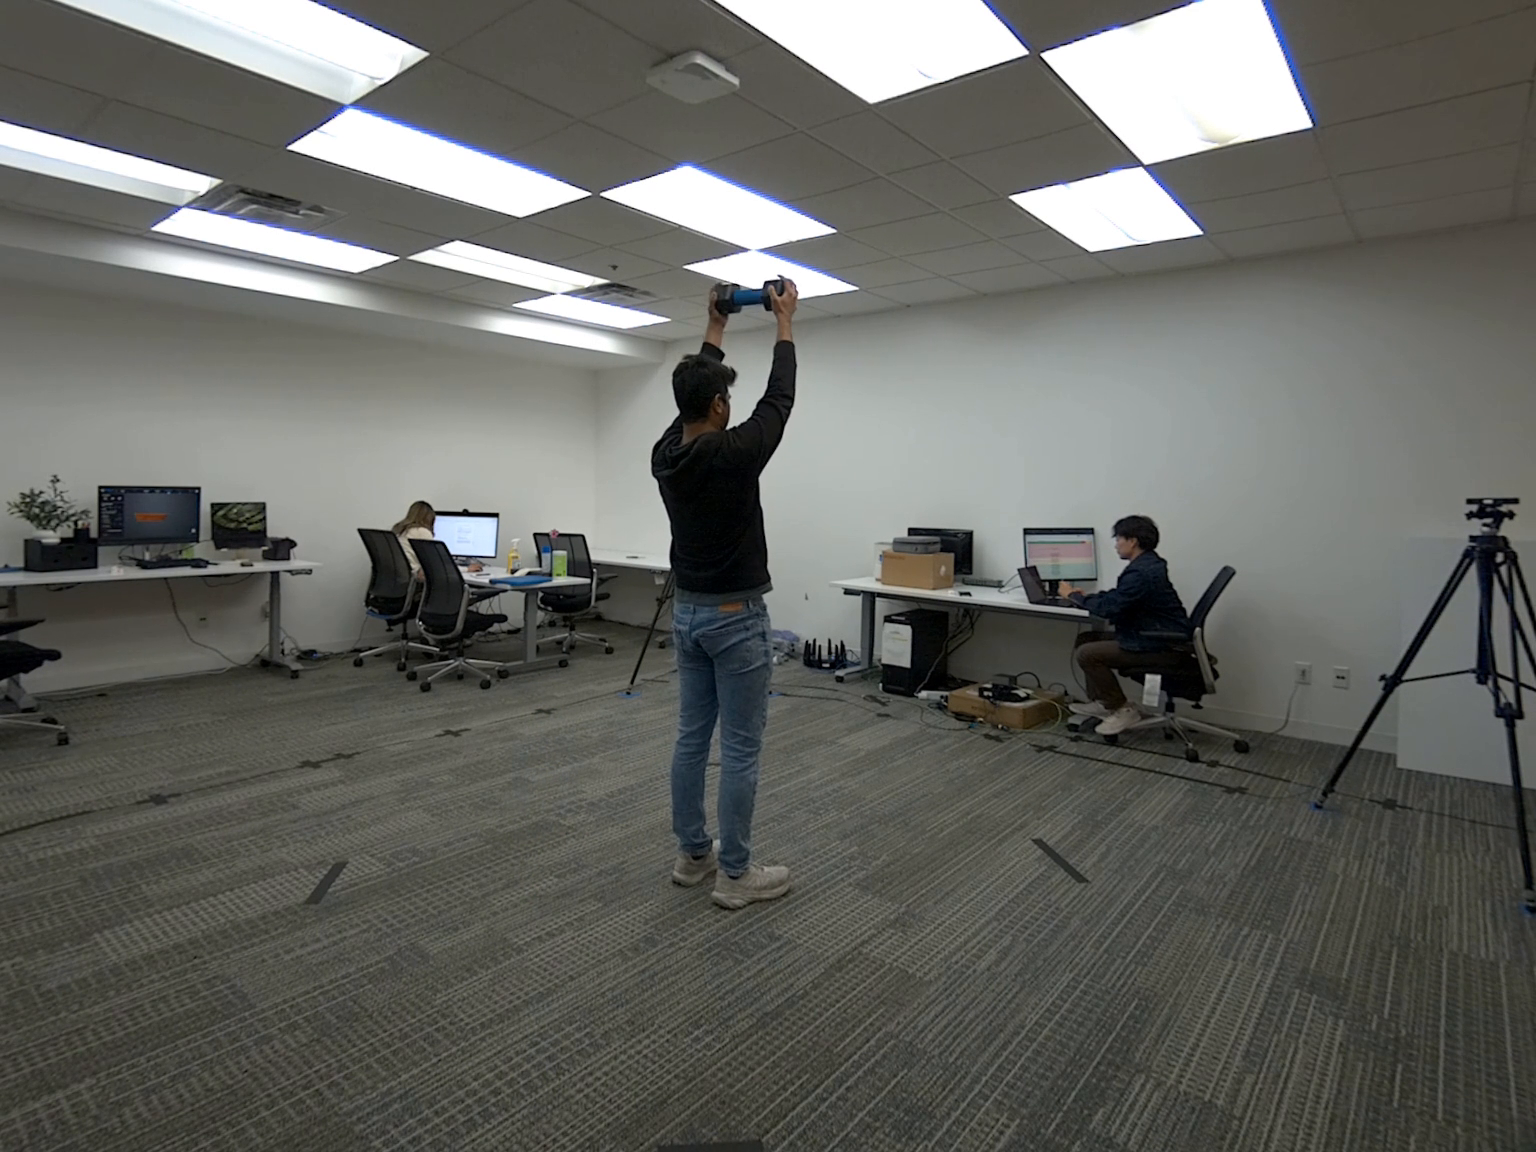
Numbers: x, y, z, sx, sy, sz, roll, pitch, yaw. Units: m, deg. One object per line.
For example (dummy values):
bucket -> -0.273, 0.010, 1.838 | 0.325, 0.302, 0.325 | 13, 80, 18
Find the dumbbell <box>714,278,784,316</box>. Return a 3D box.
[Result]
dumbbell -> -0.067, -0.998, 3.063 | 0.303, 0.109, 0.118 | 8, -37, 32
